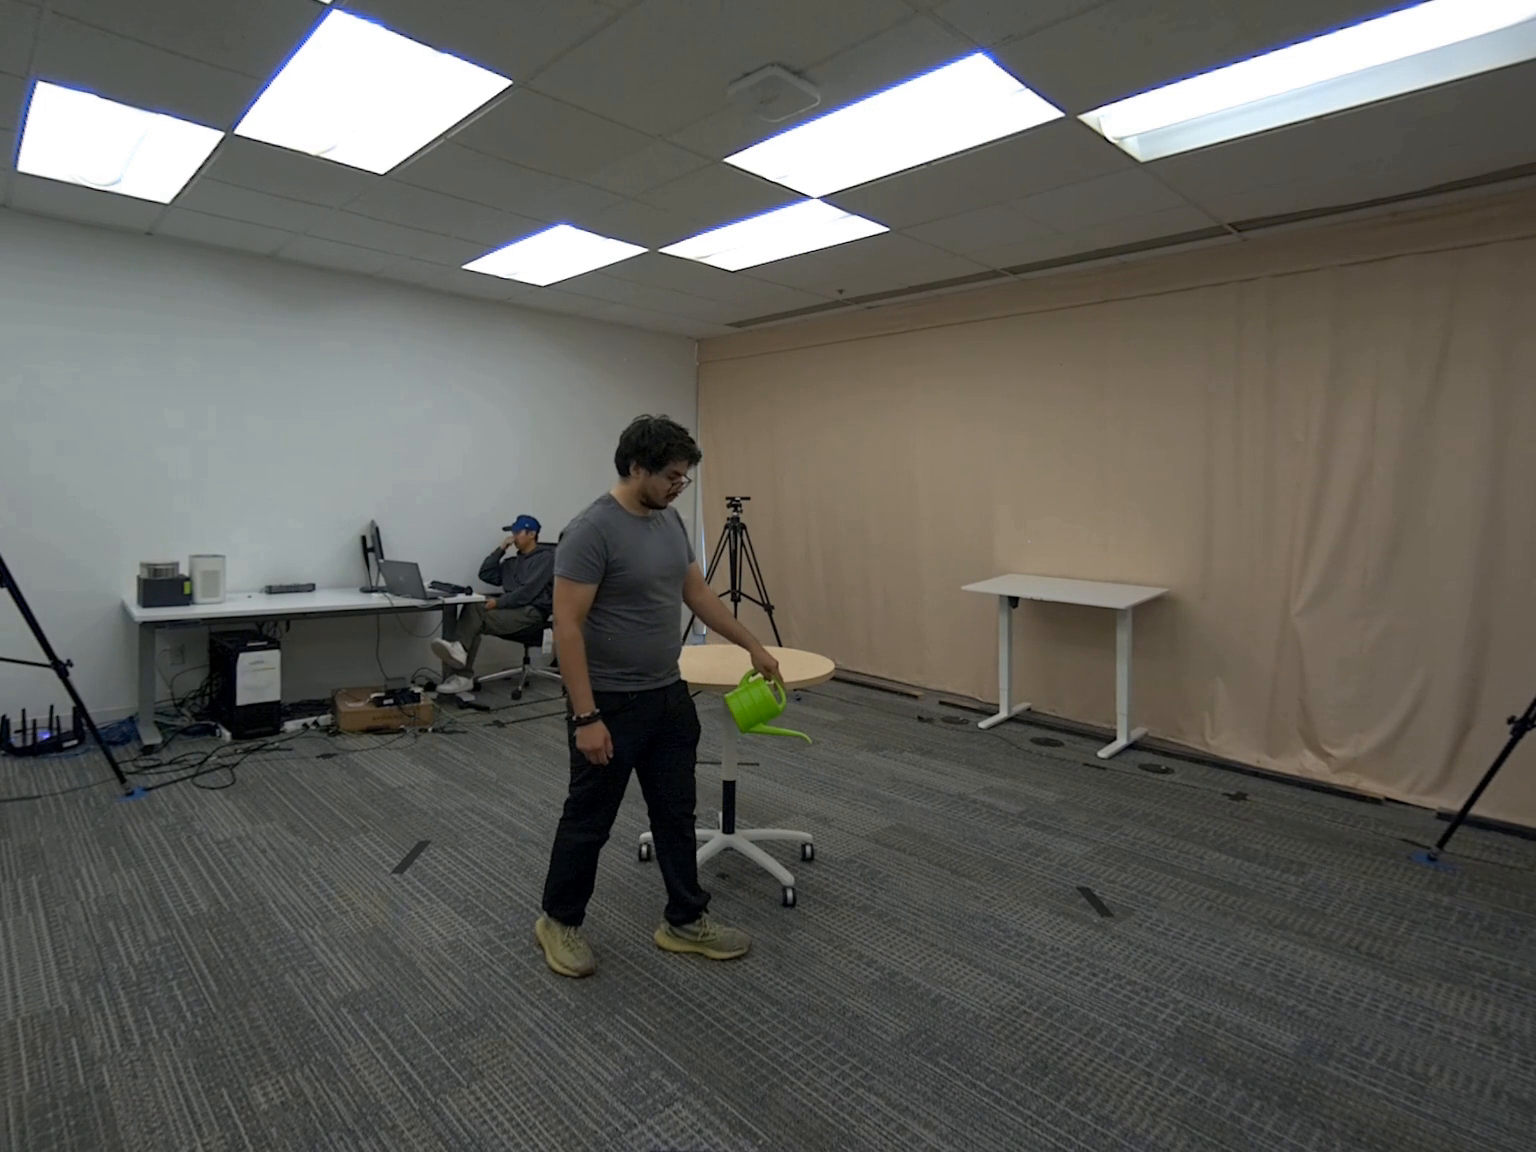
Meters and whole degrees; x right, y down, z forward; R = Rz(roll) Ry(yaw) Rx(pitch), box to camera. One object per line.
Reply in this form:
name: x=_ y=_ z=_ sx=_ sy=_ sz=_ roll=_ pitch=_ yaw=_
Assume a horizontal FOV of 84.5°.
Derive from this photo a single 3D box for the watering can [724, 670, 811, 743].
watering can: x=-0.020 y=0.412 z=2.511 sx=0.176 sy=0.286 sz=0.095 roll=-28 pitch=-32 yaw=-7
